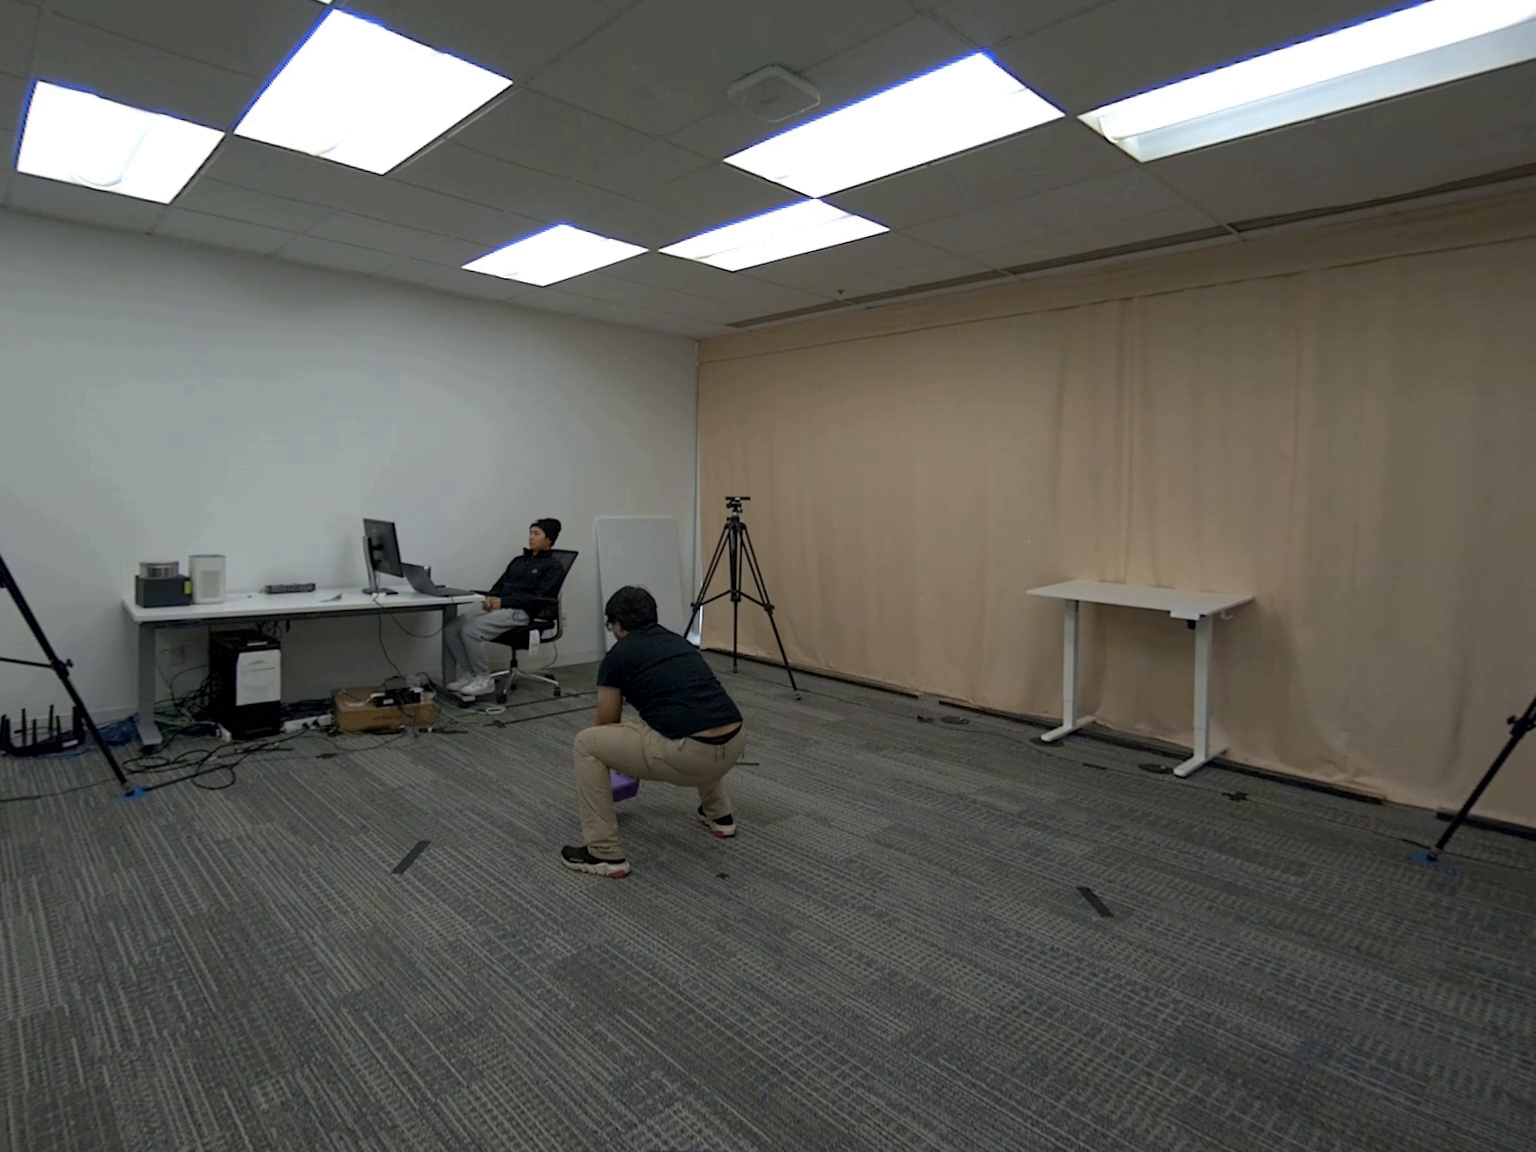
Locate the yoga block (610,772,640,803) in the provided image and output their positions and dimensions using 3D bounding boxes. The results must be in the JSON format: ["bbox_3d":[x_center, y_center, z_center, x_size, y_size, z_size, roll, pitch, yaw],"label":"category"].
[{"bbox_3d":[-0.699,0.908,3.639,0.153,0.076,0.224,11,11,39],"label":"yoga block"}]
